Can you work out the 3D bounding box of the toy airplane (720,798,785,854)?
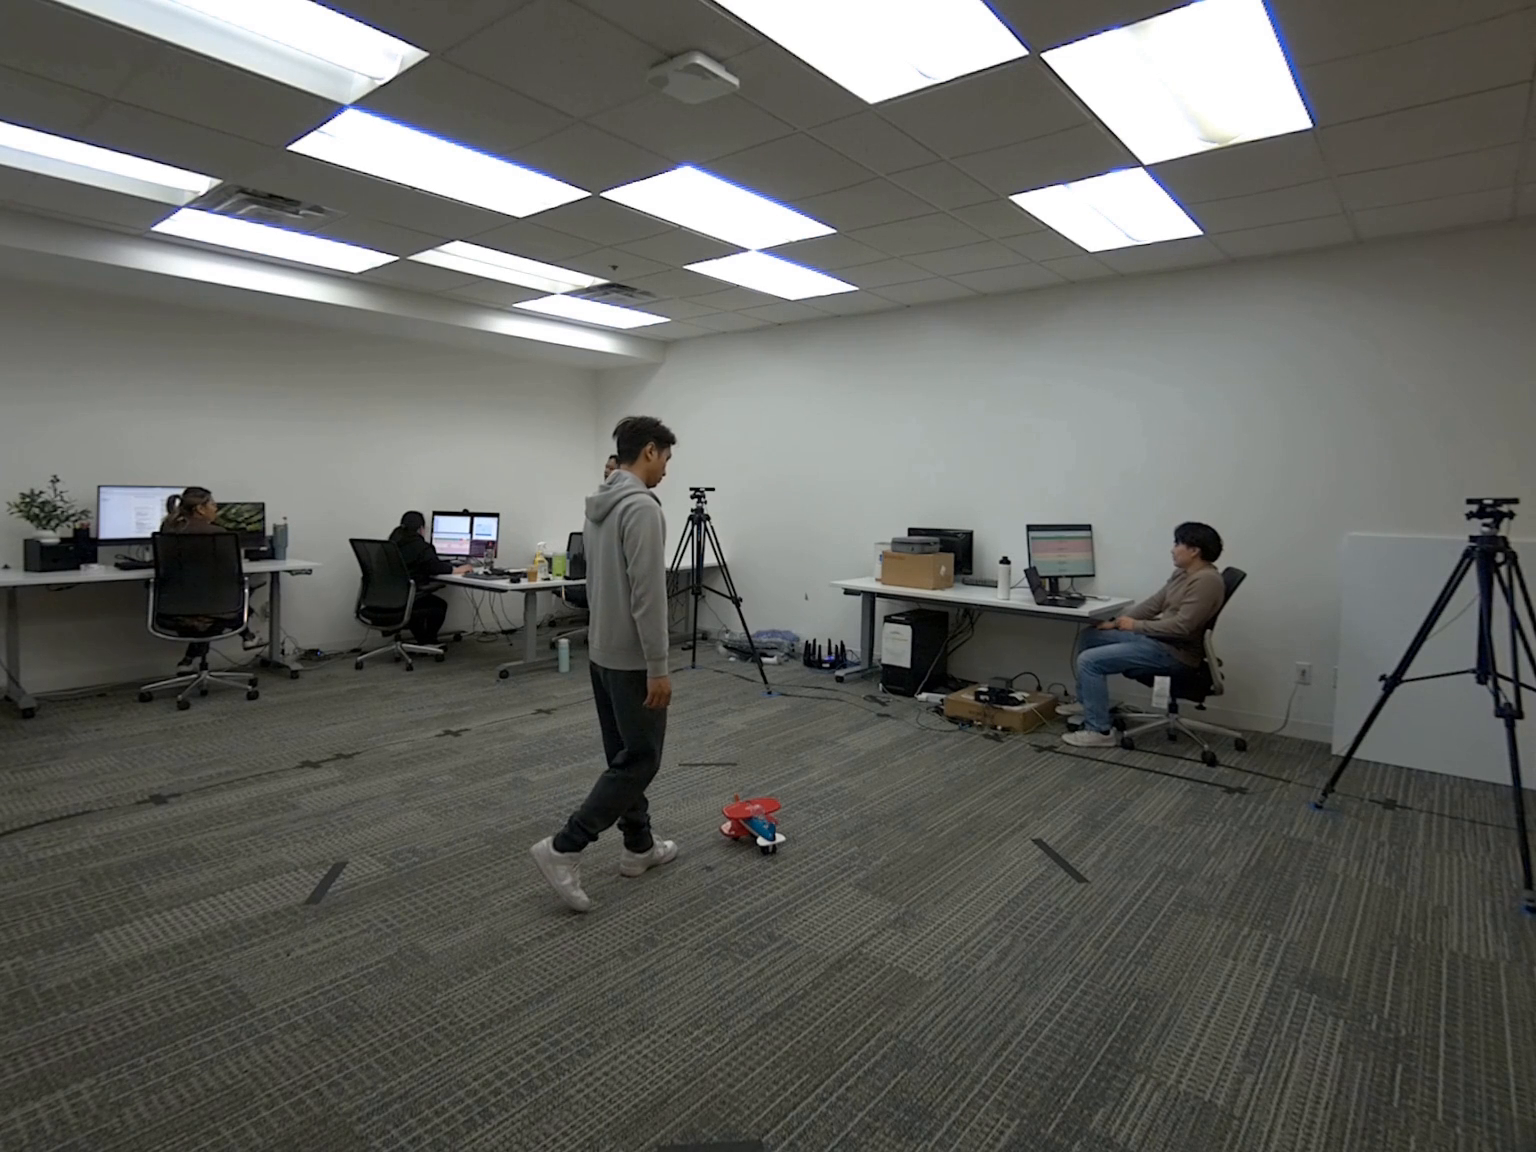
[{"bbox_3d":[-0.047,0.971,3.333,0.266,0.156,0.245,2,5,28],"label":"toy airplane"}]
